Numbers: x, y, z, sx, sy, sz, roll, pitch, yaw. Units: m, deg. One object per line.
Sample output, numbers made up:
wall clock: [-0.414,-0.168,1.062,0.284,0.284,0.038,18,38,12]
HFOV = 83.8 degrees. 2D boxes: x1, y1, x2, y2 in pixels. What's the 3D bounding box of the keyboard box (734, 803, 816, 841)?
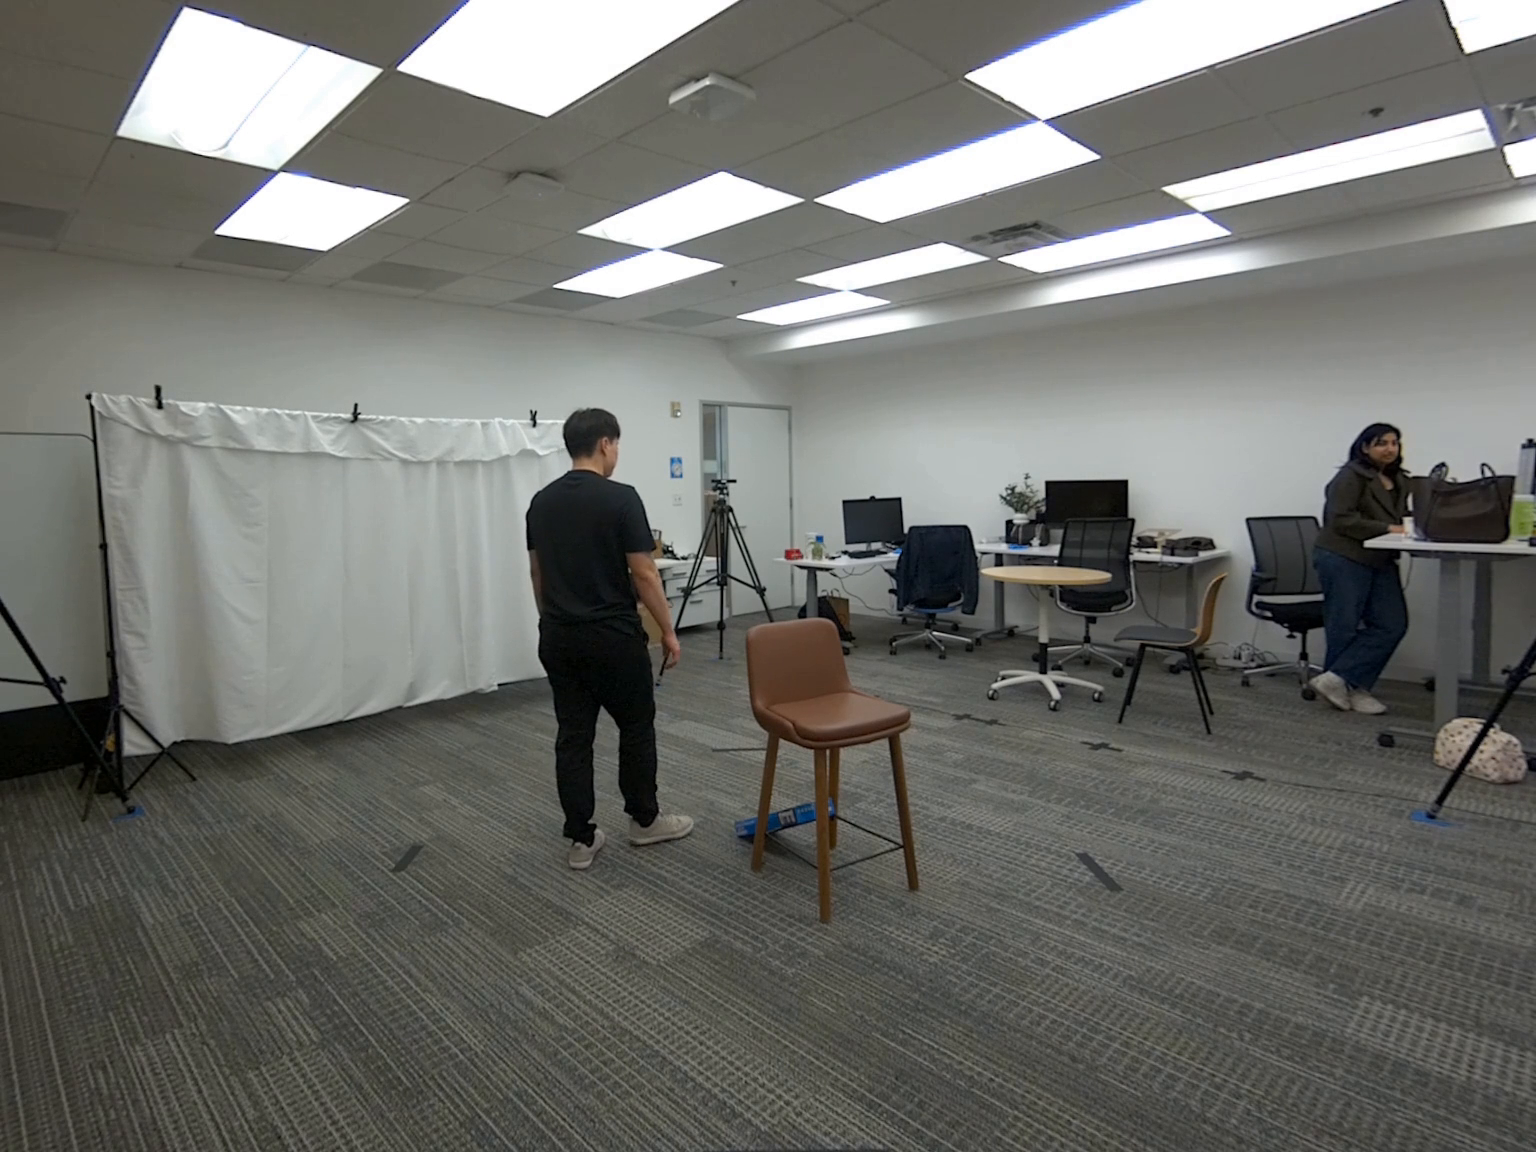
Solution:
keyboard box: [0.049,0.915,3.223,0.171,0.060,0.440,-4,-17,-34]
